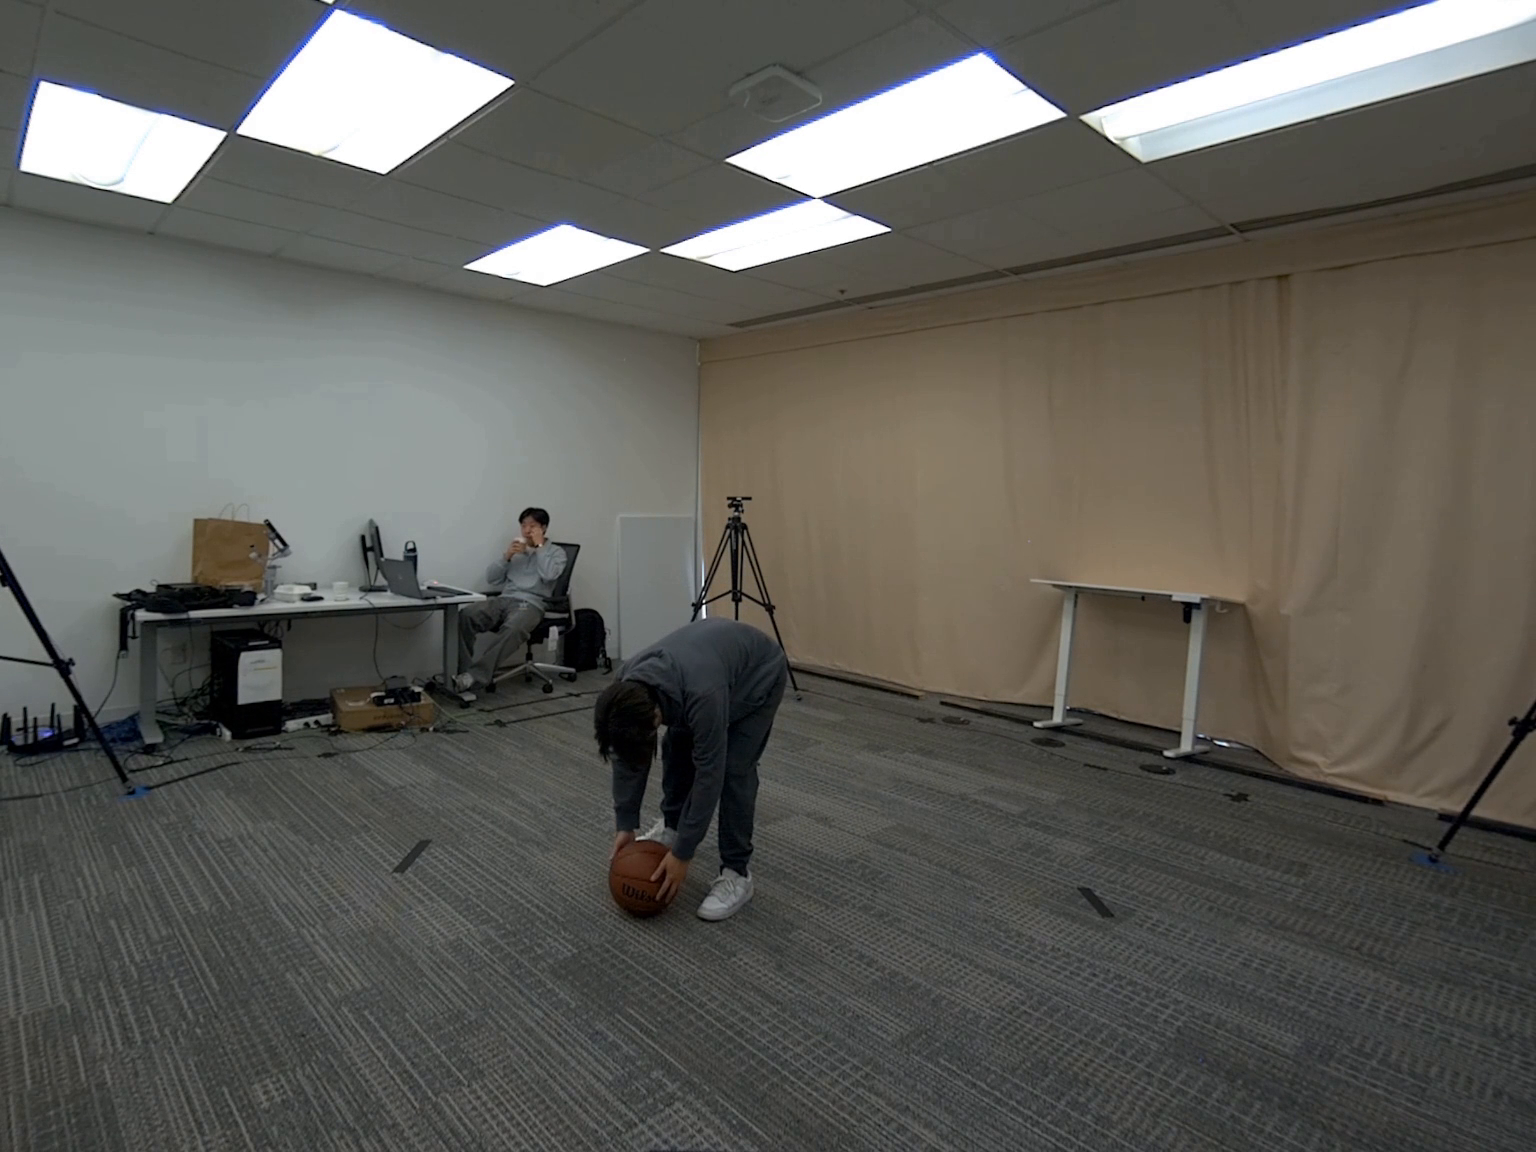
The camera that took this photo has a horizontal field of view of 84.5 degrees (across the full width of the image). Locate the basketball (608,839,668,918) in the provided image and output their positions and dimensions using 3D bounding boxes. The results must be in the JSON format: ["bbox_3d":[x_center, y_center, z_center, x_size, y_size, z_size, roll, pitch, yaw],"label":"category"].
[{"bbox_3d":[-0.419,1.003,2.816,0.236,0.235,0.237,1,4,-1],"label":"basketball"}]
